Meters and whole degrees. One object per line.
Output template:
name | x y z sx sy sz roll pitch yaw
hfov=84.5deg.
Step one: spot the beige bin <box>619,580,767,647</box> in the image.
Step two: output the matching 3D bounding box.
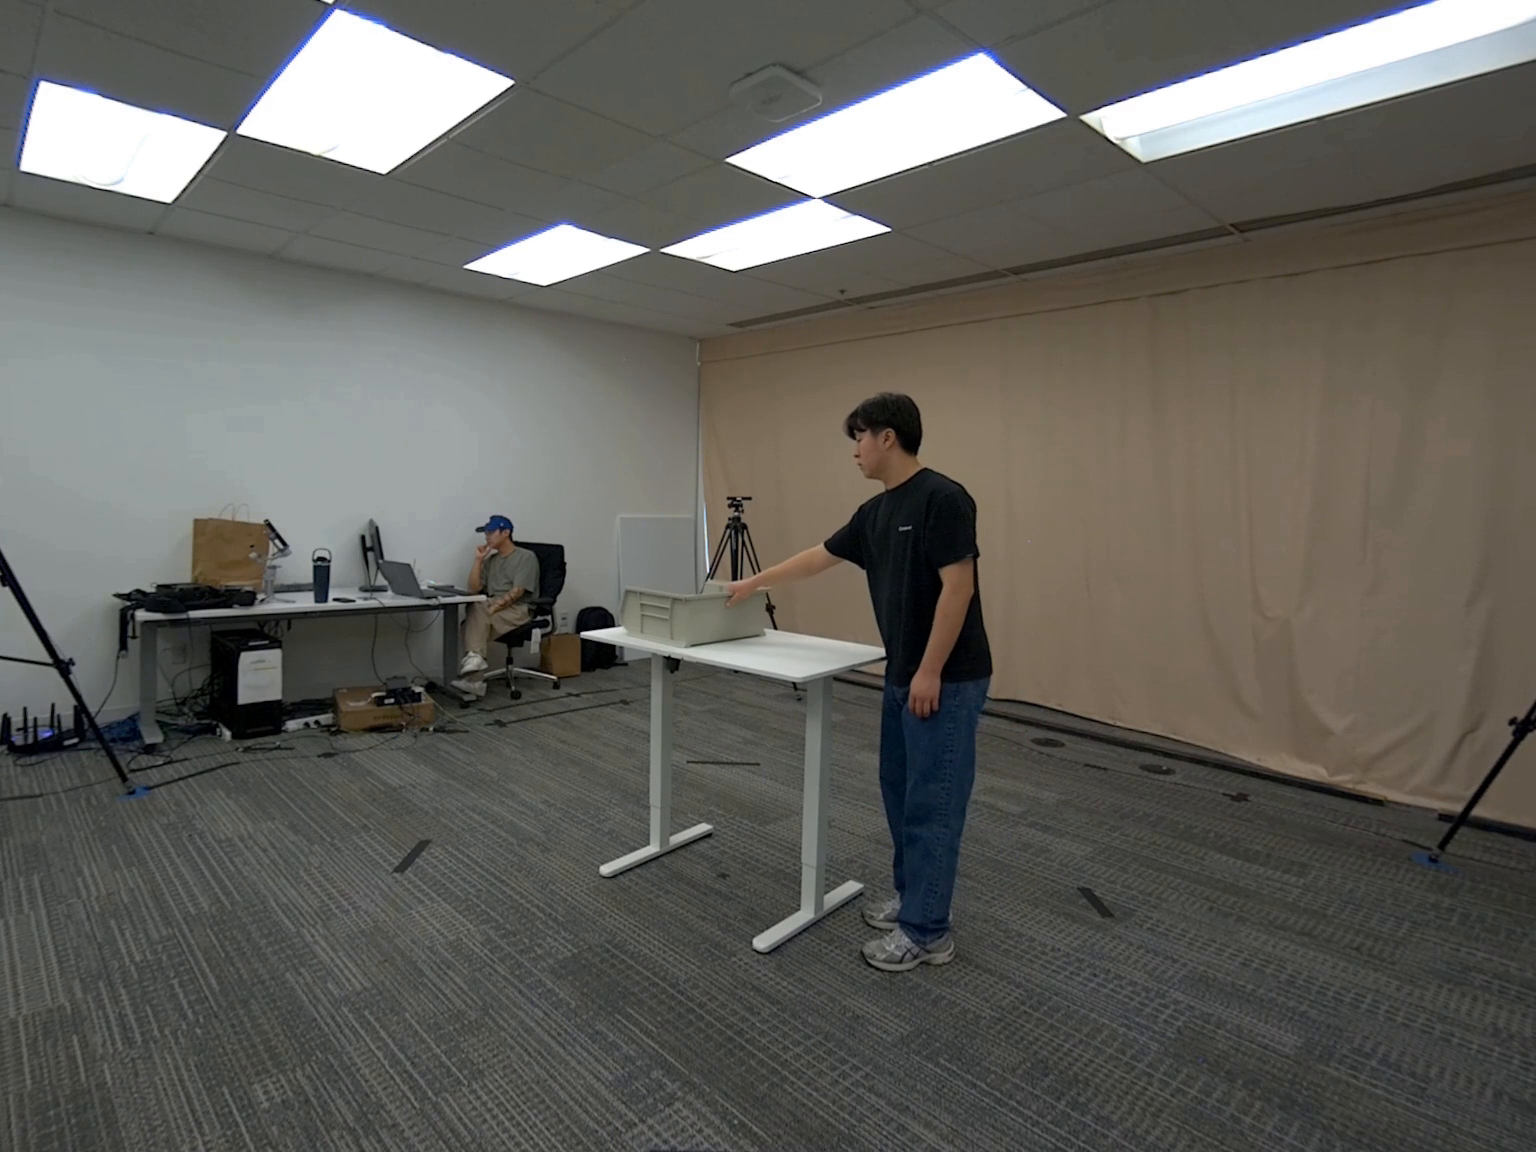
beige bin | -0.274 0.133 3.094 0.387 0.188 0.413 8 8 44
